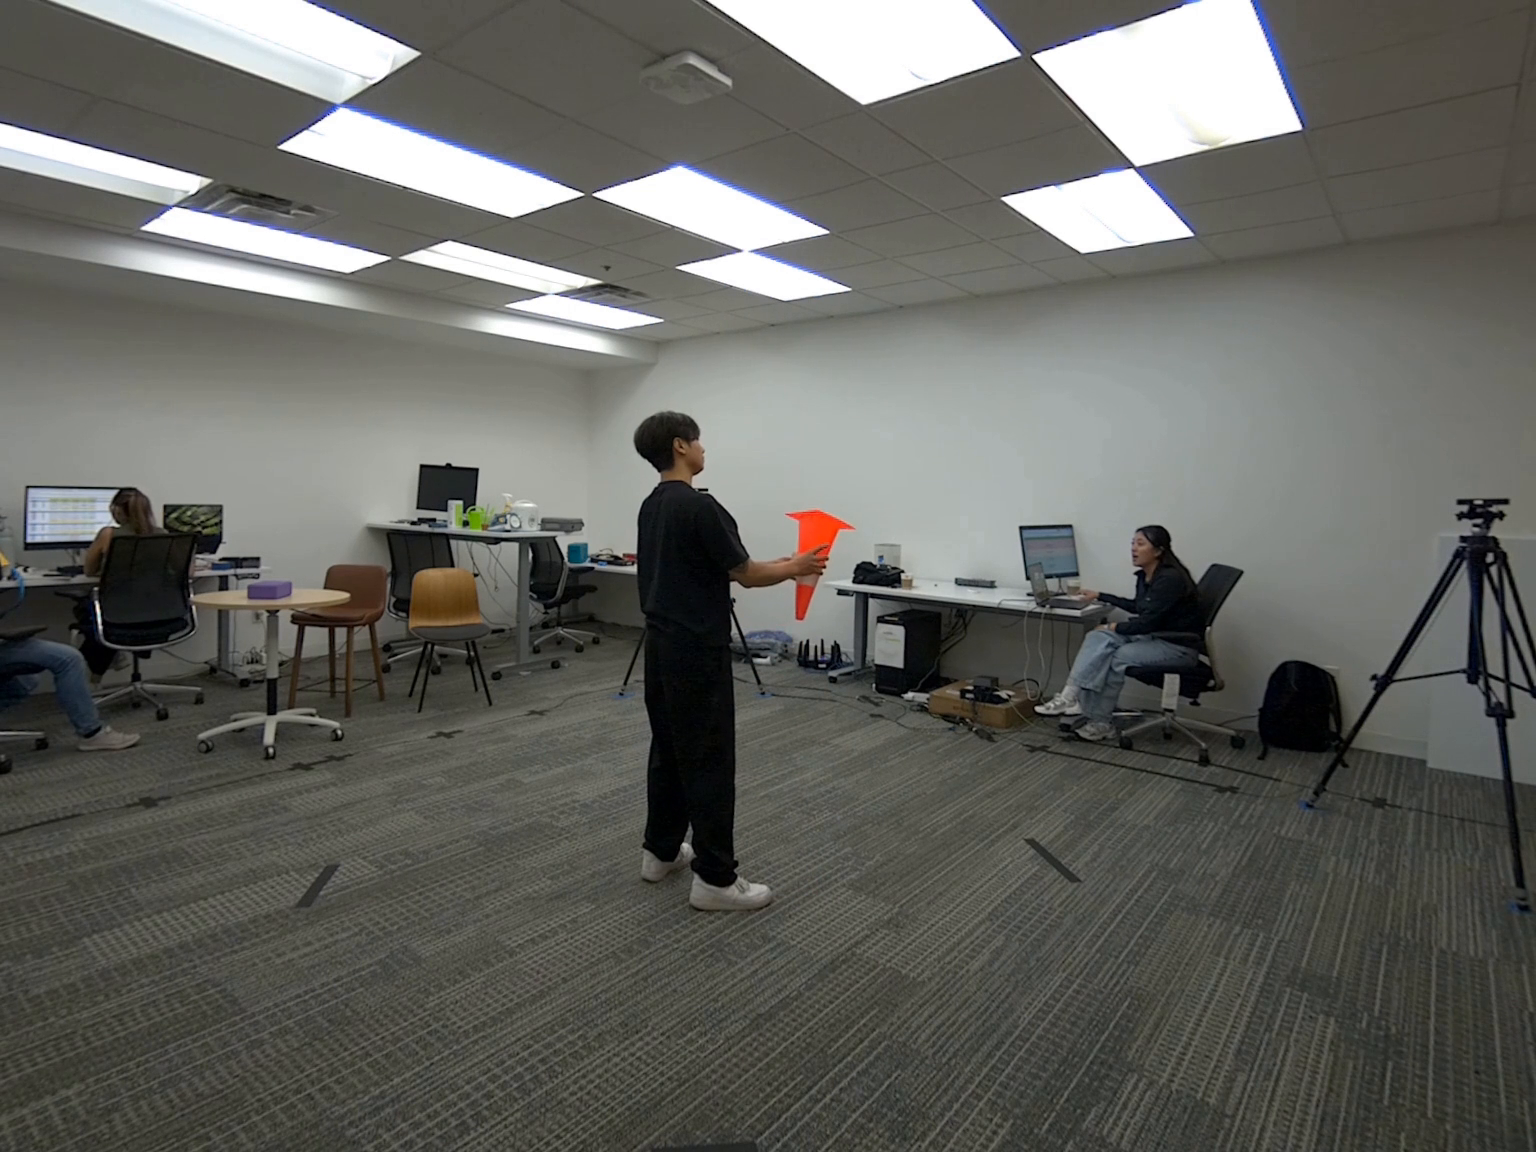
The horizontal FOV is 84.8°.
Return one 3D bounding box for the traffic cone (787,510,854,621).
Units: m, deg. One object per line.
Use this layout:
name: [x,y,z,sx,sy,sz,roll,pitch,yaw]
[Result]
traffic cone: [0.151,-0.019,3.106,0.196,0.387,0.210,21,-16,-32]
